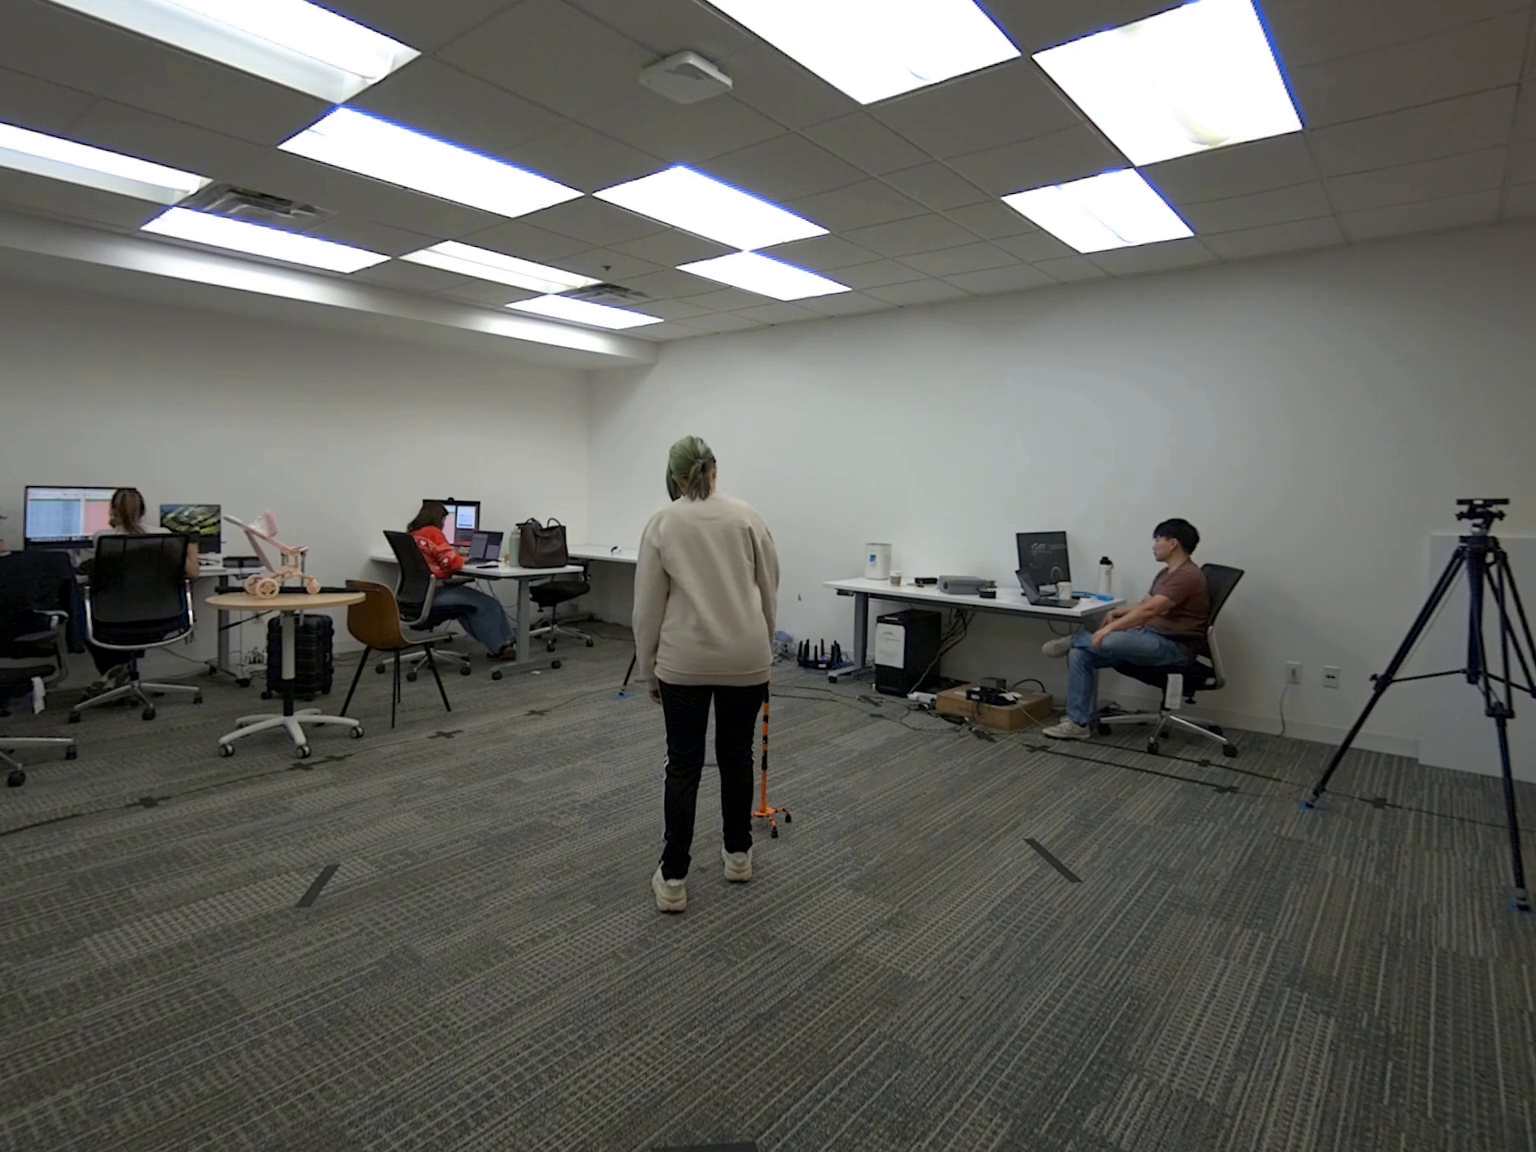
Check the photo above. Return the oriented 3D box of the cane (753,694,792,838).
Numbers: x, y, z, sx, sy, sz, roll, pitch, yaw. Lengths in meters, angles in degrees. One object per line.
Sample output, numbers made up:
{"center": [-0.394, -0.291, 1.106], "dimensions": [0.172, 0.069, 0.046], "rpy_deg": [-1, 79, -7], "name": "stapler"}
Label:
{"center": [-0.002, 0.581, 3.514], "dimensions": [0.155, 0.907, 0.202], "rpy_deg": [1, 1, 19], "name": "cane"}
